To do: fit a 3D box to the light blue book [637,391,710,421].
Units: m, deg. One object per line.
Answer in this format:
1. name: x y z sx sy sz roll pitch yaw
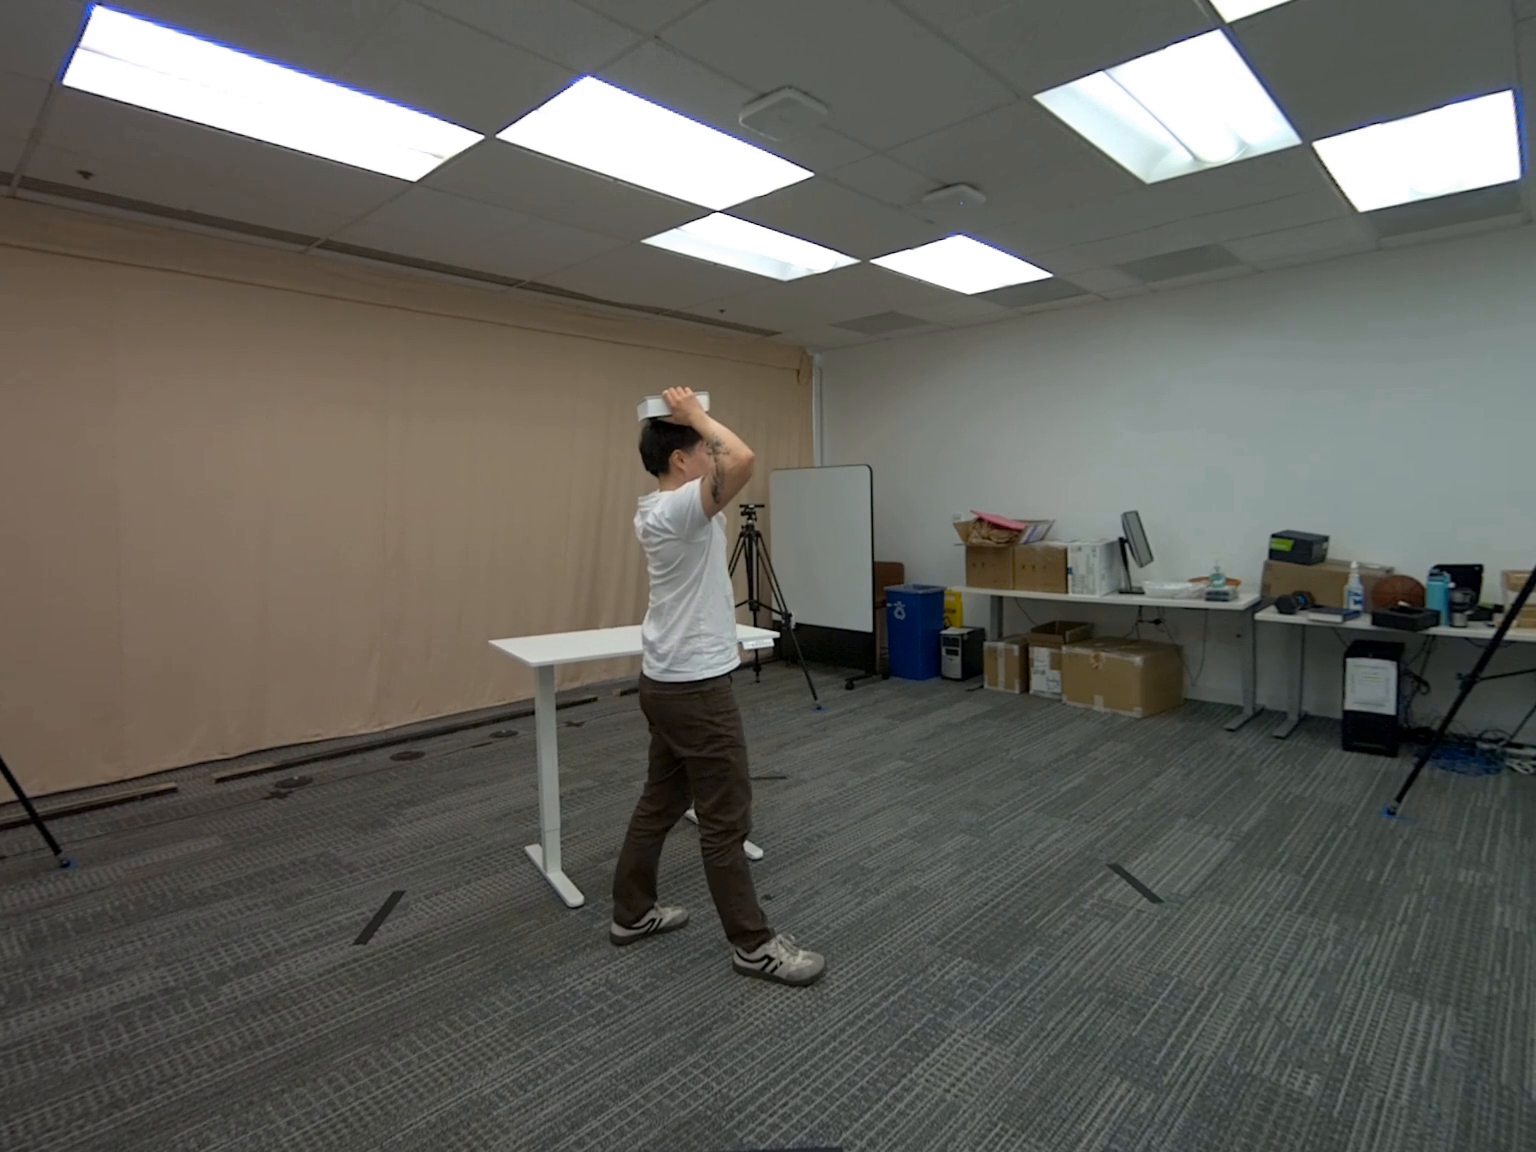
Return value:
1. light blue book: -0.290 -0.518 2.562 0.189 0.059 0.265 -8 8 -11
